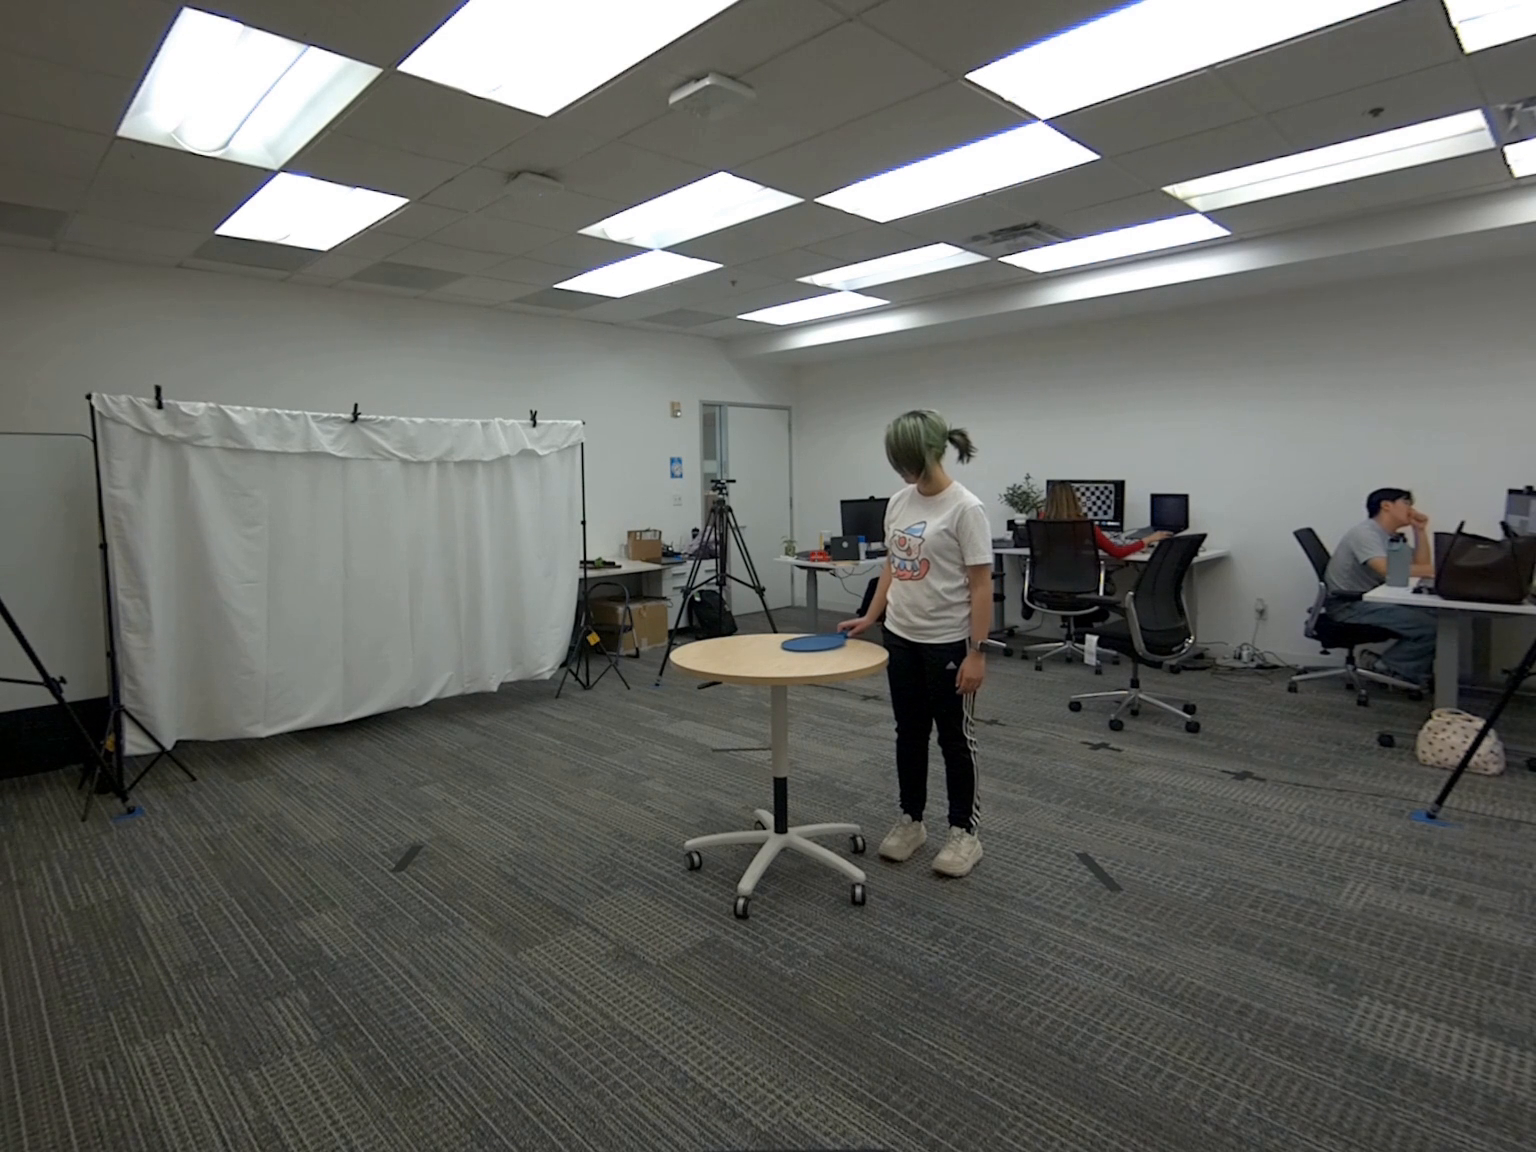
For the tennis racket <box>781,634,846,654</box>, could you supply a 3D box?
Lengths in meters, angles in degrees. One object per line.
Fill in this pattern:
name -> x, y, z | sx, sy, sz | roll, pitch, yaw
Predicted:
tennis racket -> 0.233, 0.239, 3.176 | 0.422, 0.031, 0.220 | -9, 10, -41
